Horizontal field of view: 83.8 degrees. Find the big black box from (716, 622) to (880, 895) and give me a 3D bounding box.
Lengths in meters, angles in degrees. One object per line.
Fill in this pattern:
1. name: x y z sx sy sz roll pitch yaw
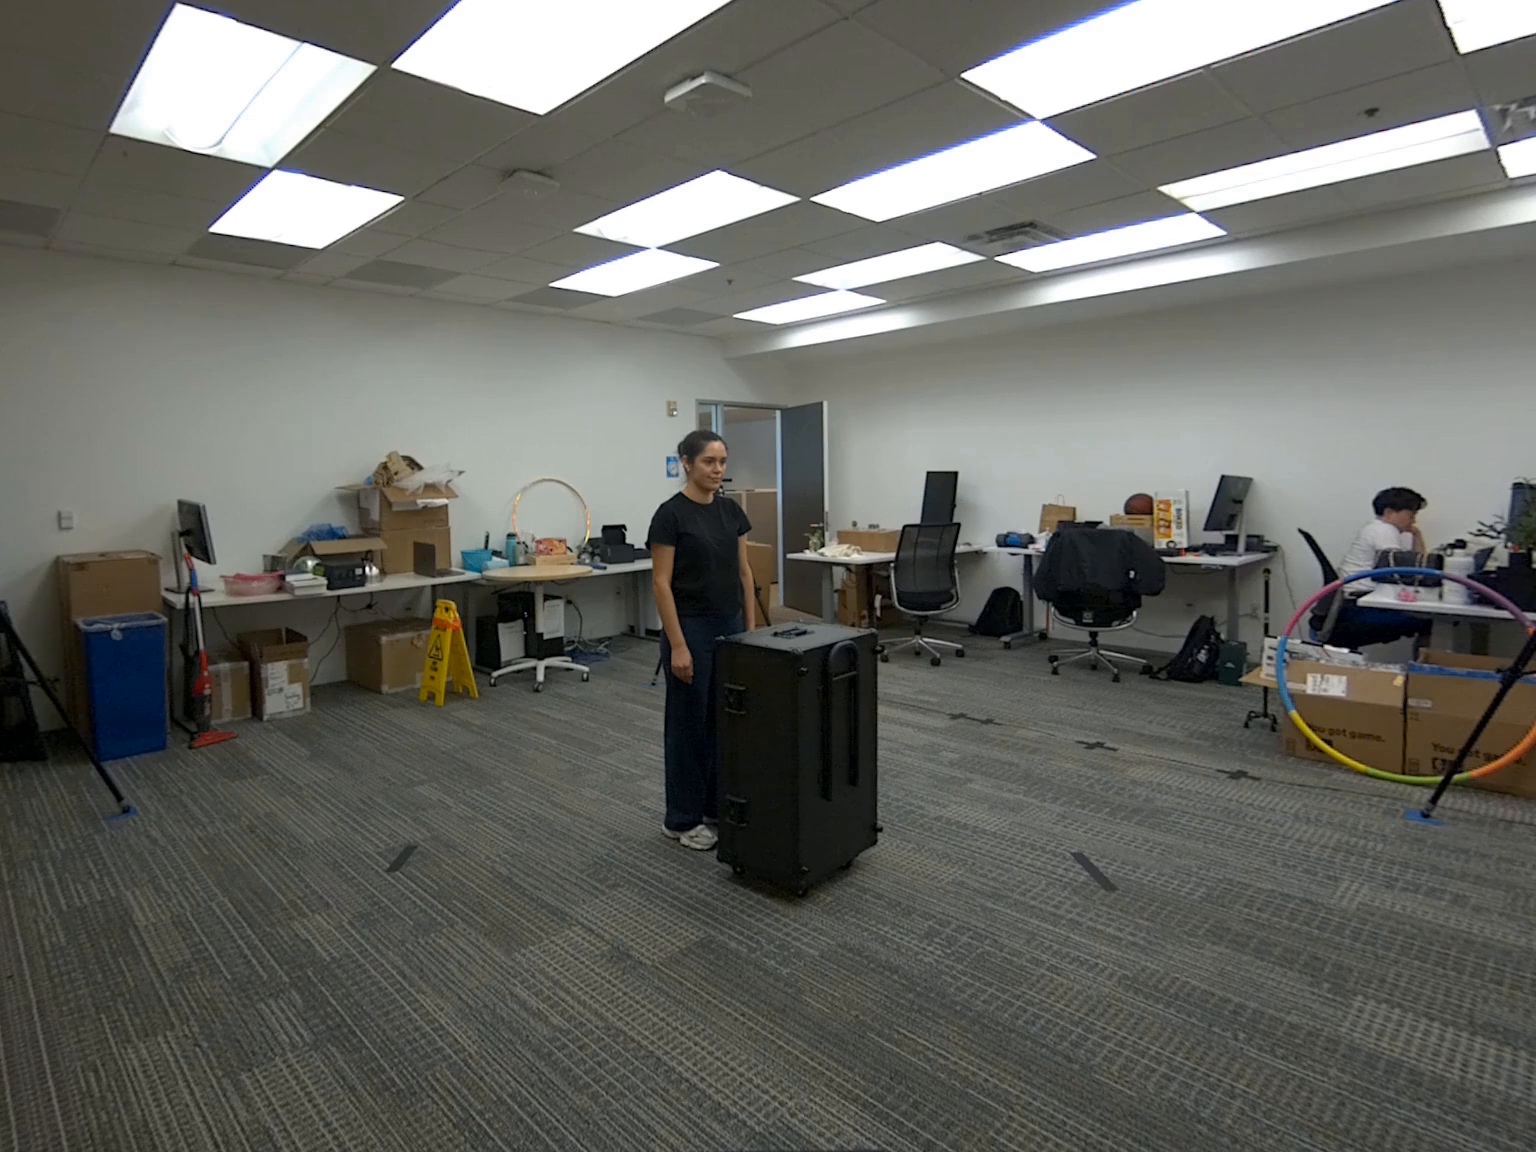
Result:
1. big black box: 0.124 0.630 3.014 0.408 0.858 0.507 5 6 40
